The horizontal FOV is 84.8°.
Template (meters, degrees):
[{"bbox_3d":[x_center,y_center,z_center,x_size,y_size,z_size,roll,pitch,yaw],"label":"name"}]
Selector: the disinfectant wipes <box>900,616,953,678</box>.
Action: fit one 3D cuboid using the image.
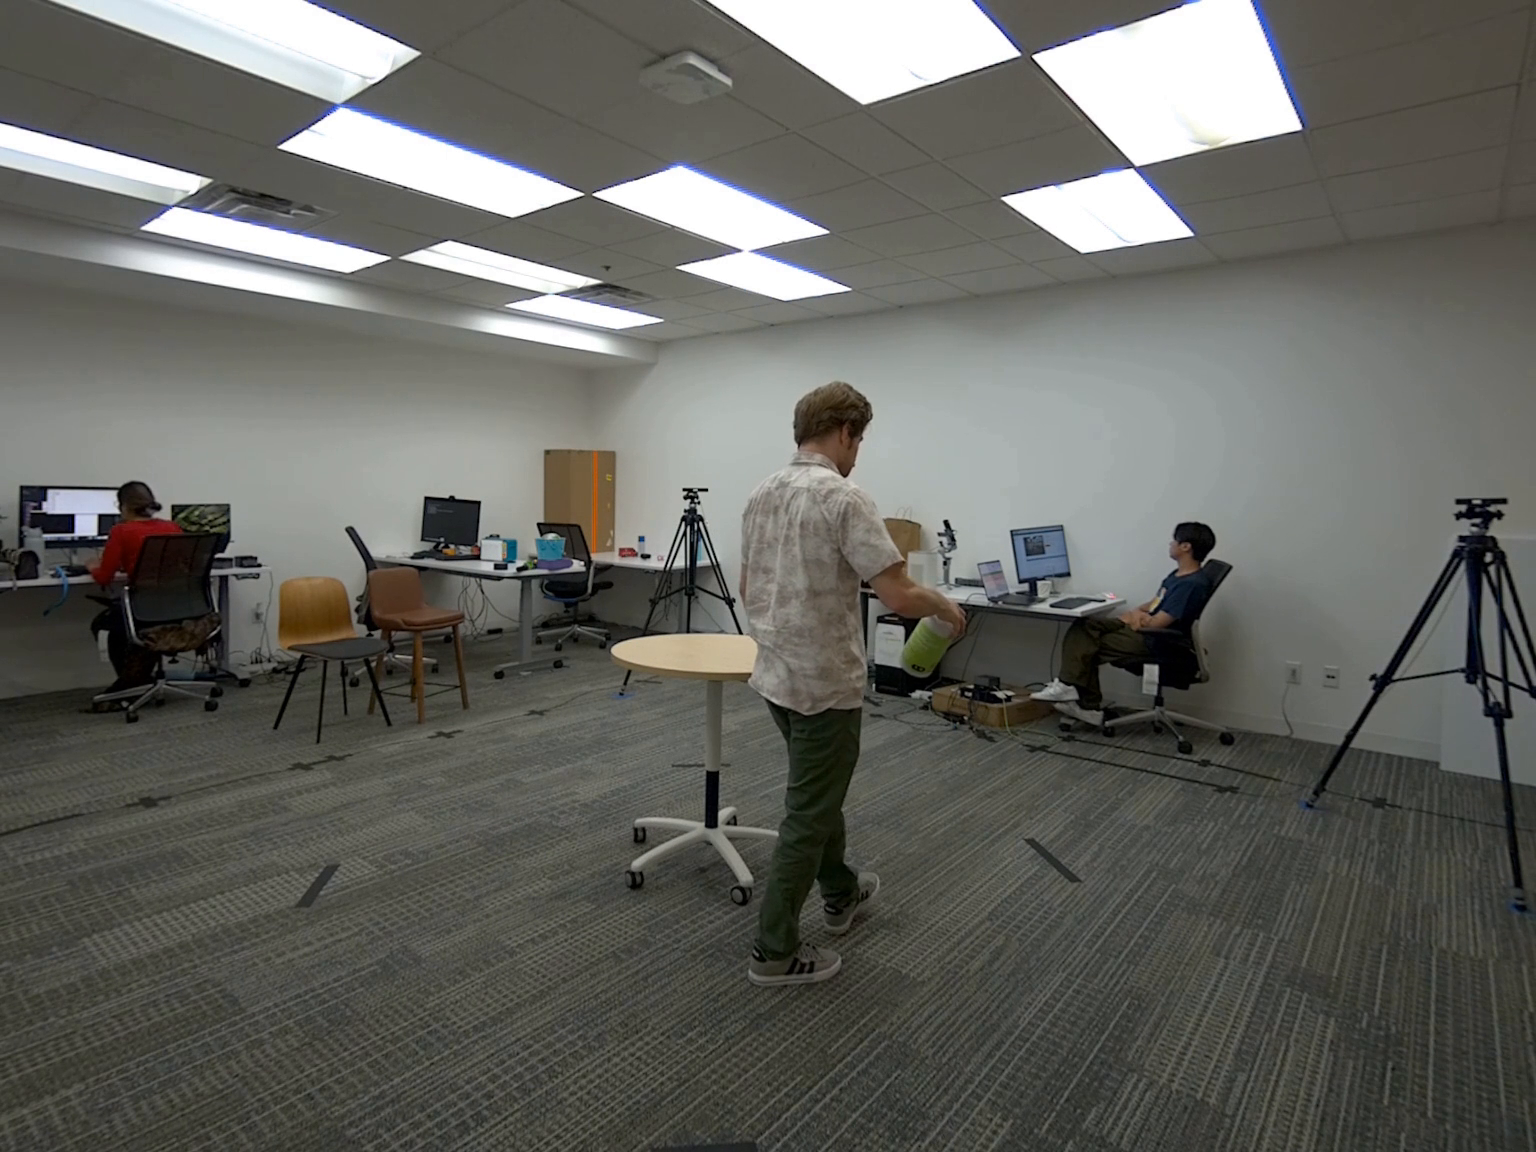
[{"bbox_3d":[0.477,0.197,2.557,0.116,0.214,0.121,12,40,-12],"label":"disinfectant wipes"}]
